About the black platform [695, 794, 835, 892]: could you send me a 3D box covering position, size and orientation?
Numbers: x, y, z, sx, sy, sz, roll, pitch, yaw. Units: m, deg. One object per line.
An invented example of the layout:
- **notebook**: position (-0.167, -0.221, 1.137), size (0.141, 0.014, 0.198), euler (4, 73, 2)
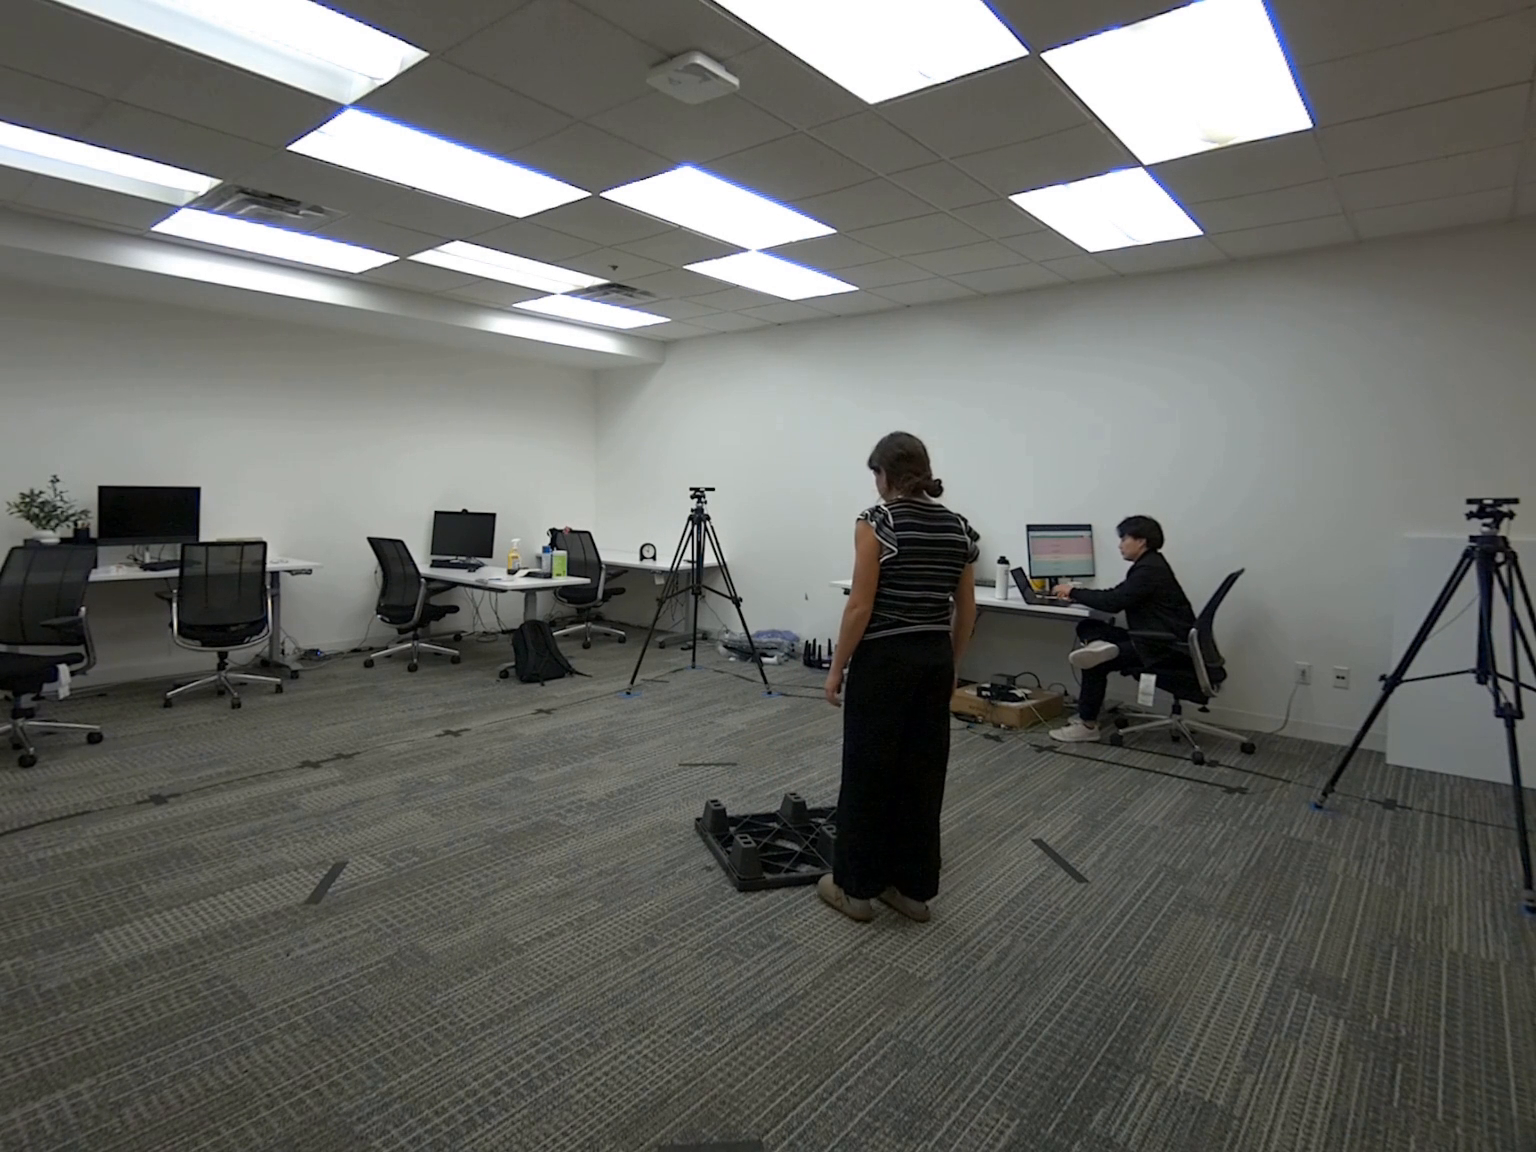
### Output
- **black platform**: position (0.162, 0.986, 3.322), size (0.790, 0.143, 0.619), euler (0, 6, -19)
